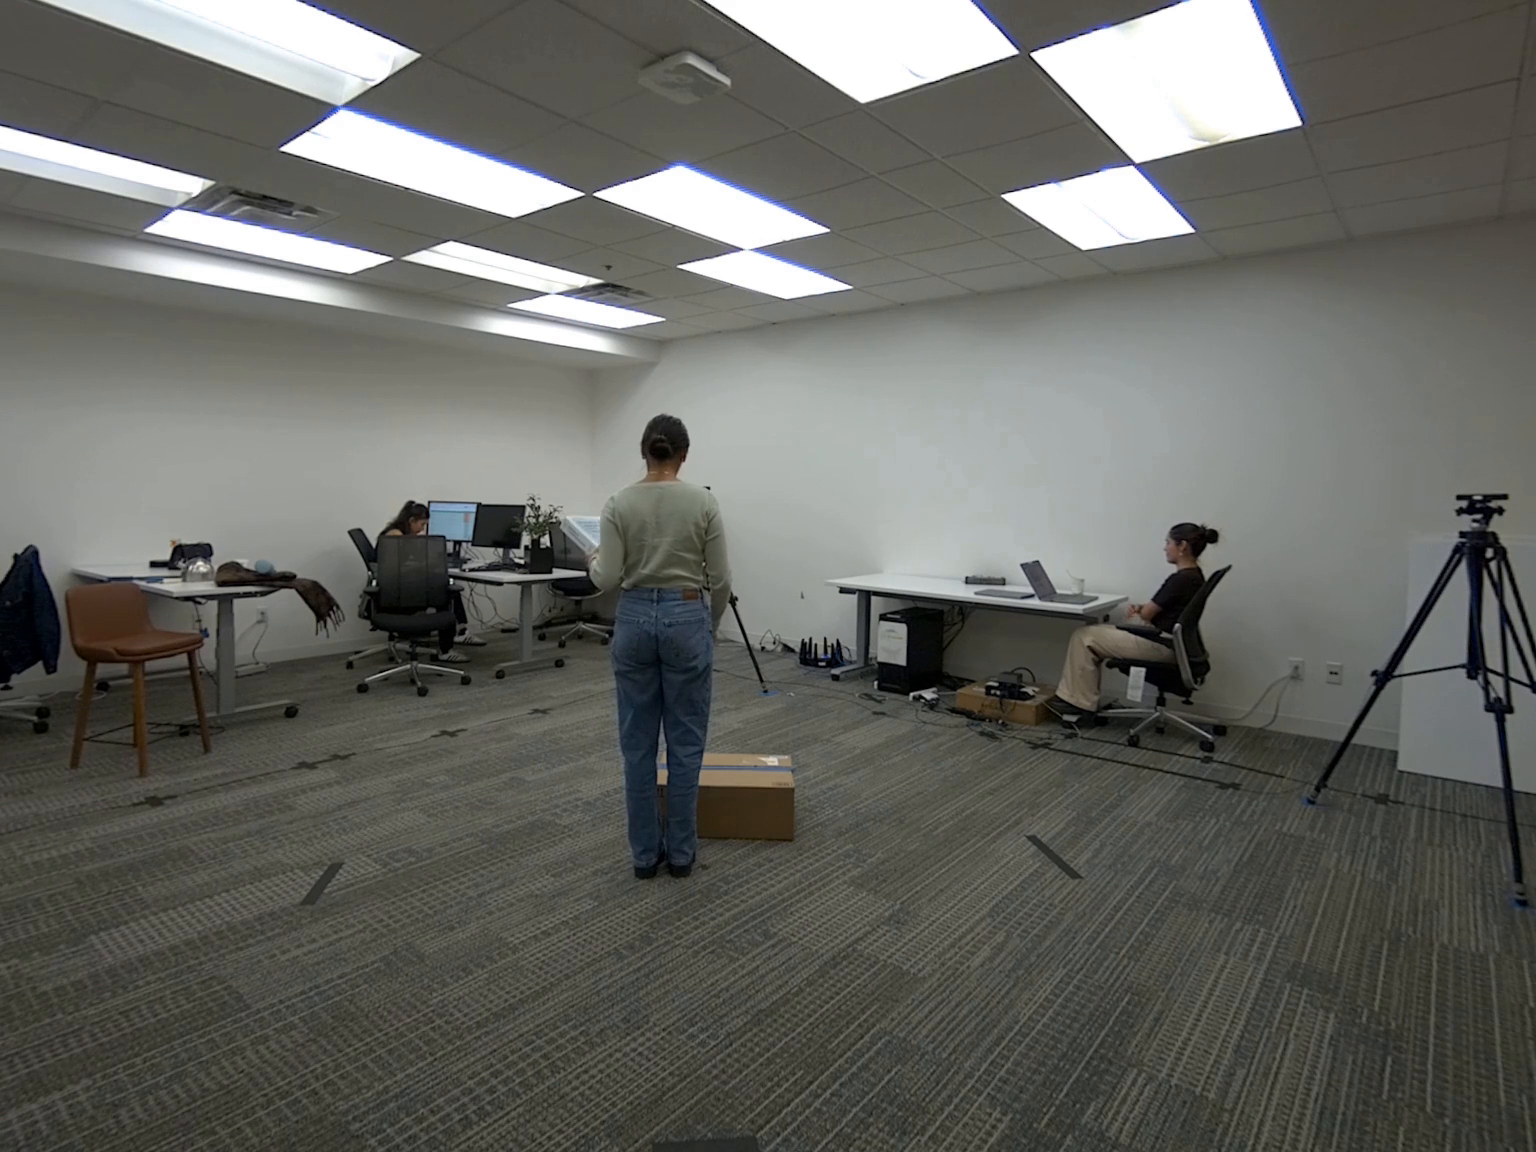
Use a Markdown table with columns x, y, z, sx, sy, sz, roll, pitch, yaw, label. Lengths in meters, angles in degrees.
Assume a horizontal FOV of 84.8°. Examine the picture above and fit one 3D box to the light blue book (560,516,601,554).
| x | y | z | sx | sy | sz | roll | pitch | yaw | label |
| --- | --- | --- | --- | --- | --- | --- | --- | --- | --- |
| -0.683 | -0.145 | 3.391 | 0.271 | 0.058 | 0.185 | 37 | 20 | 33 | light blue book |
